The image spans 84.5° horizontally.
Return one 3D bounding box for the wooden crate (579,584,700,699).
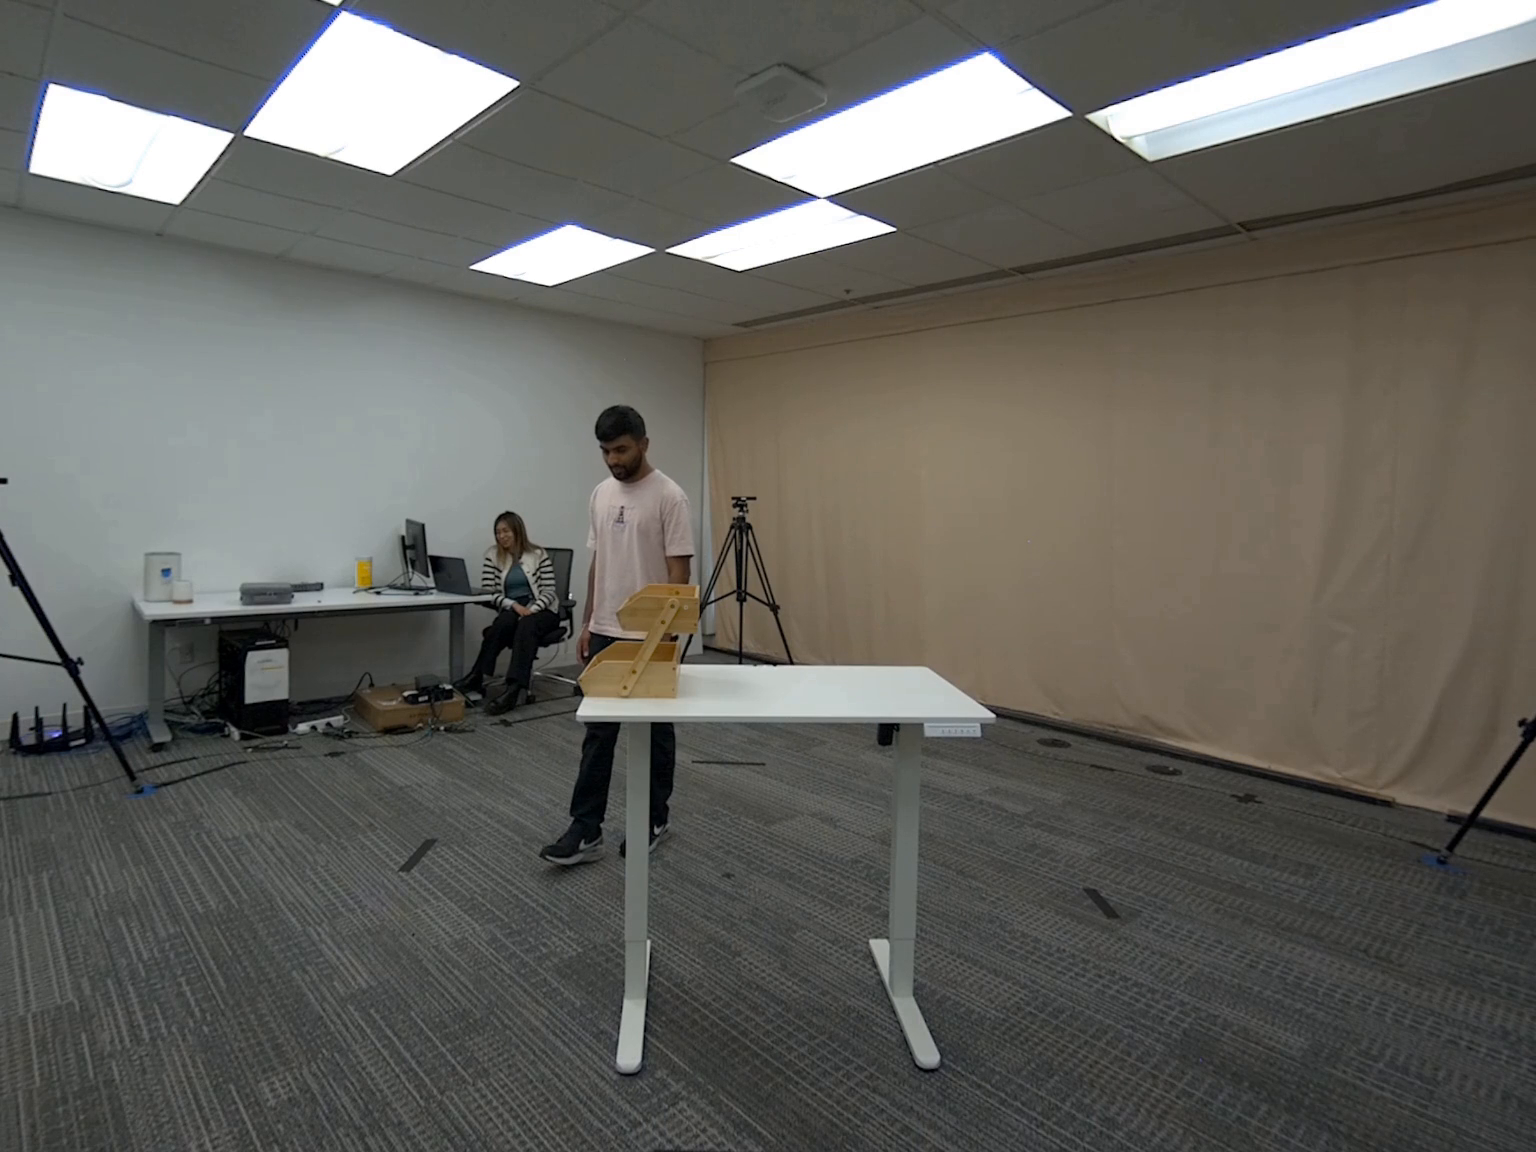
[{"bbox_3d":[-0.348,0.169,2.263,0.301,0.272,0.326,1,4,-3],"label":"wooden crate"}]
